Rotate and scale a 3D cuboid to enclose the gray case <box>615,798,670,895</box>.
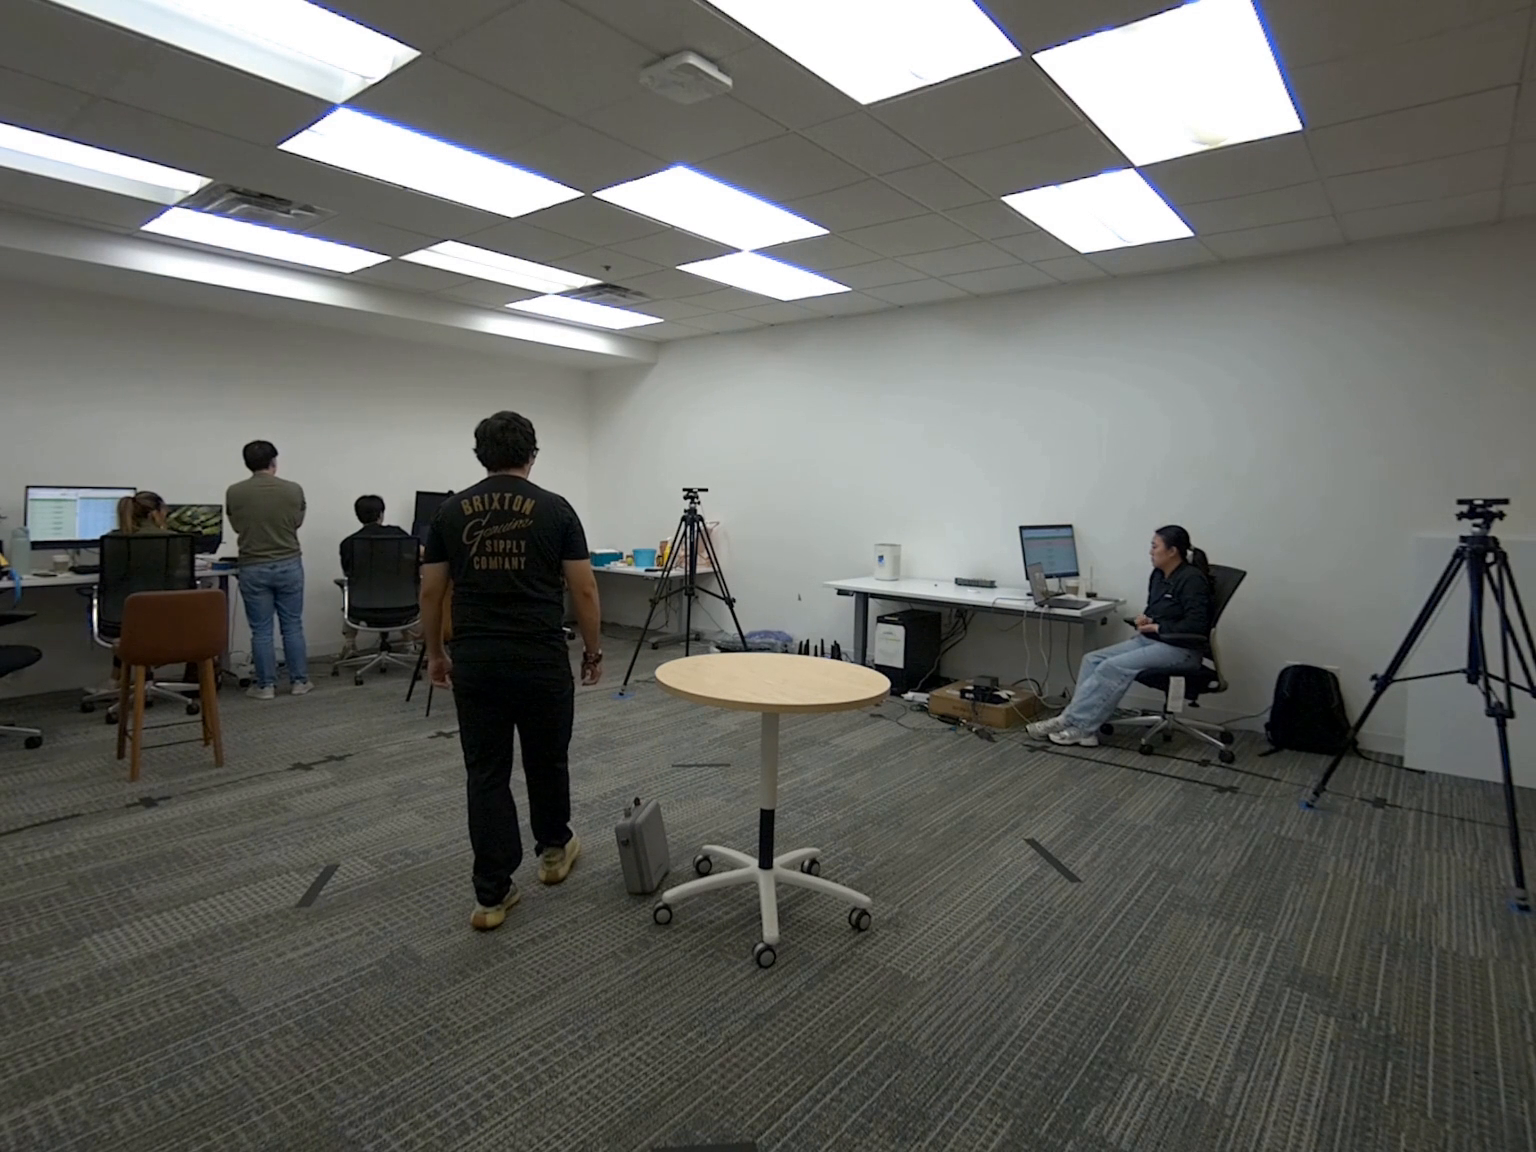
[{"bbox_3d":[-0.446,0.945,2.996,0.105,0.261,0.254,-9,1,10],"label":"gray case"}]
